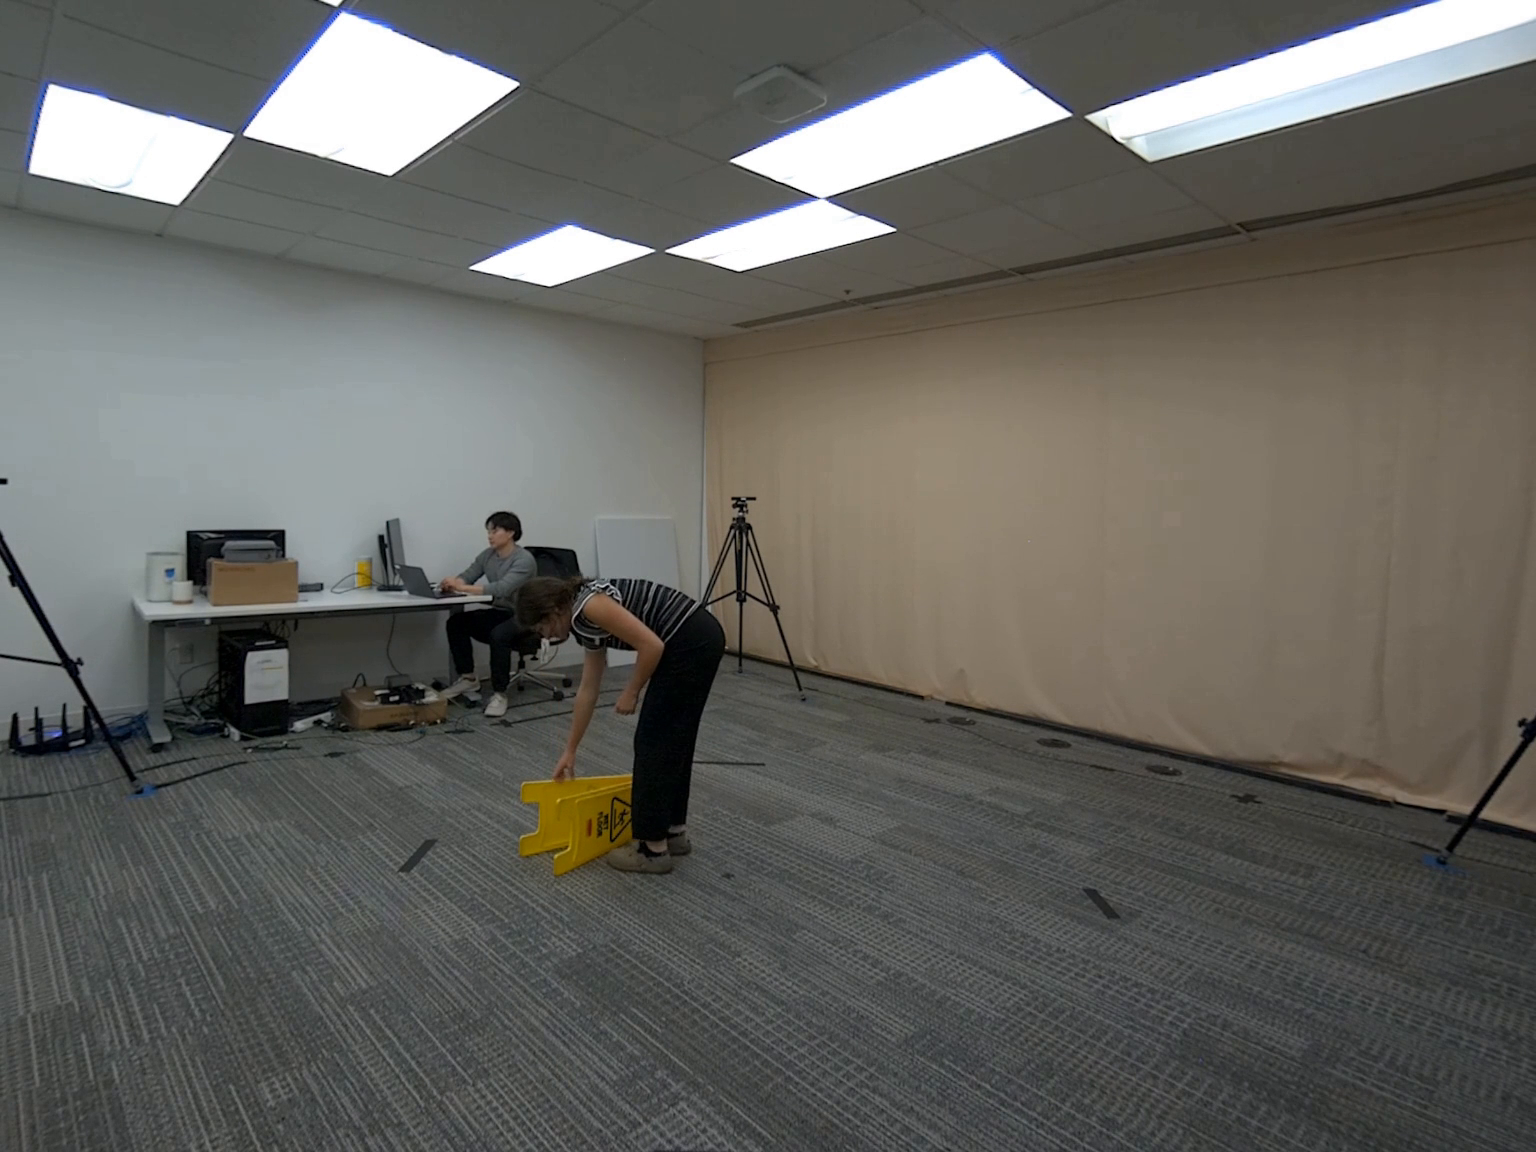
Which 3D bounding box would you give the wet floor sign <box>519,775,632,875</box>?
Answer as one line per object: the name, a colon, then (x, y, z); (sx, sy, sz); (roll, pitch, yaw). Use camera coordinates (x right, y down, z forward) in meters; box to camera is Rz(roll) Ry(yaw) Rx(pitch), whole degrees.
wet floor sign: (-0.653, 0.945, 3.375); (0.297, 0.282, 0.630); (3, 2, 41)
